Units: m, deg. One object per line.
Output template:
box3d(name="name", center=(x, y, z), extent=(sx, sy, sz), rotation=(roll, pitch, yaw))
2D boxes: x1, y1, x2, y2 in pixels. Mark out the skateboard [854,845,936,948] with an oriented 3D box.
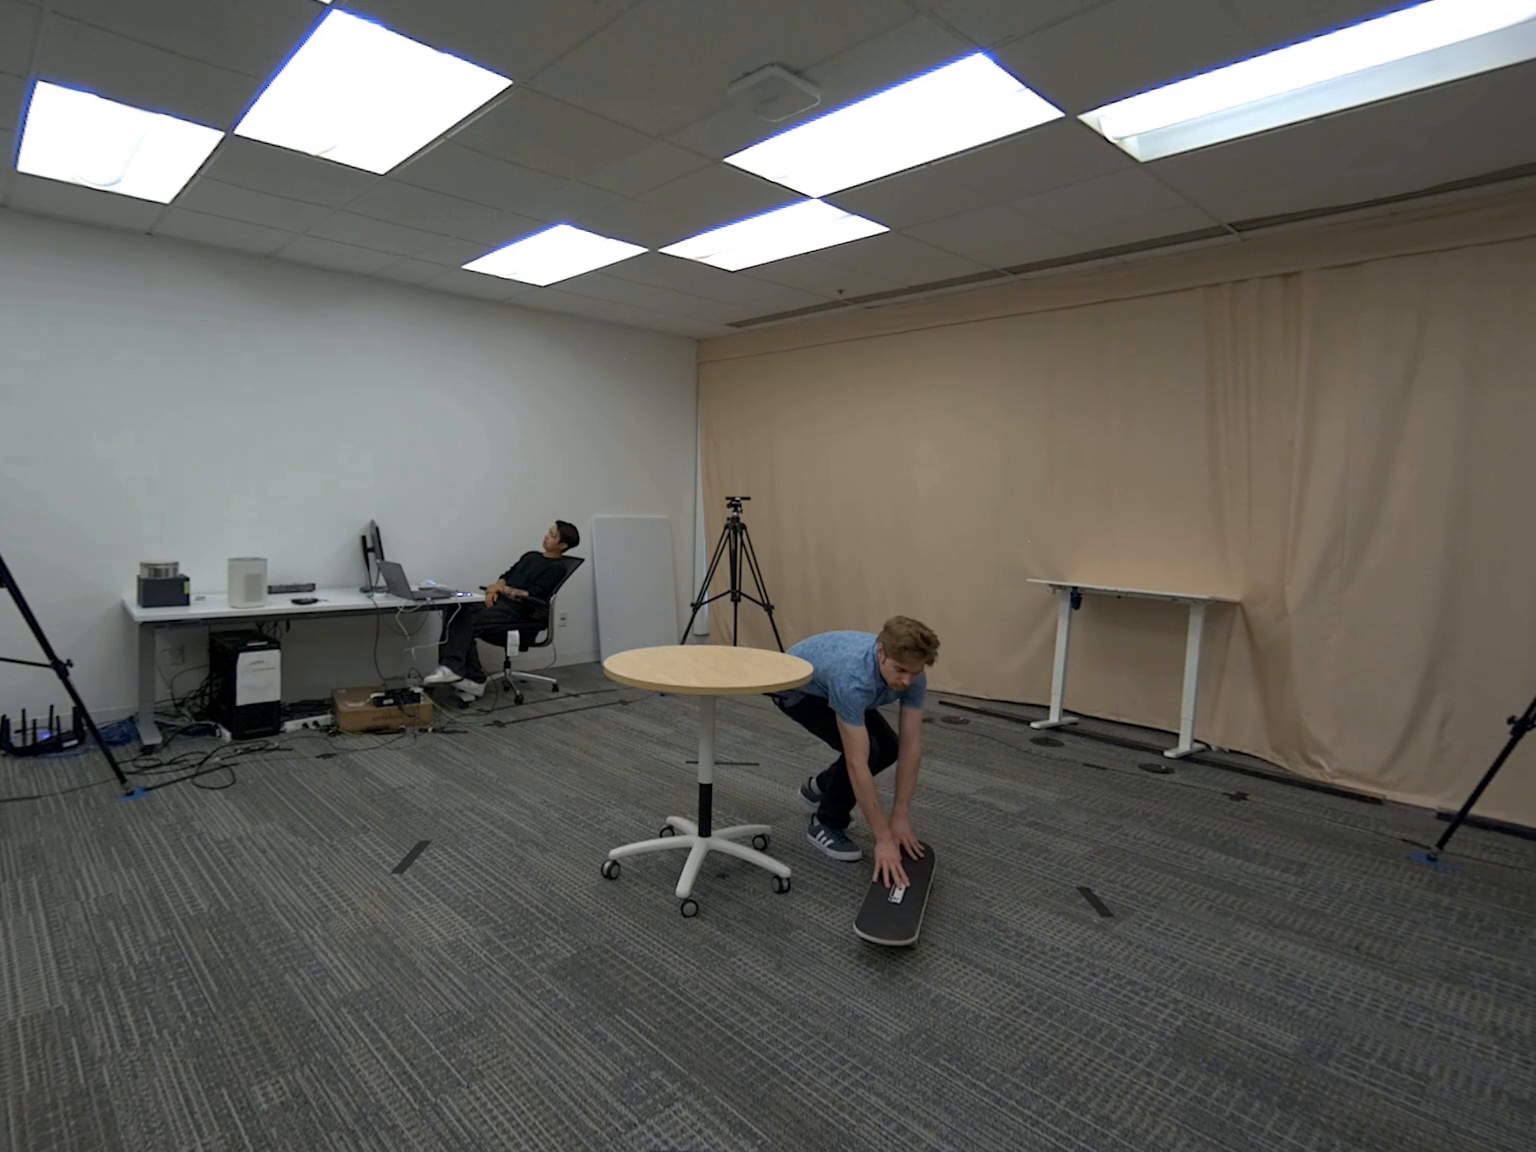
box3d(name="skateboard", center=(0.431, 1.088, 2.840), extent=(0.196, 0.110, 0.777), rotation=(3, 6, 16))
